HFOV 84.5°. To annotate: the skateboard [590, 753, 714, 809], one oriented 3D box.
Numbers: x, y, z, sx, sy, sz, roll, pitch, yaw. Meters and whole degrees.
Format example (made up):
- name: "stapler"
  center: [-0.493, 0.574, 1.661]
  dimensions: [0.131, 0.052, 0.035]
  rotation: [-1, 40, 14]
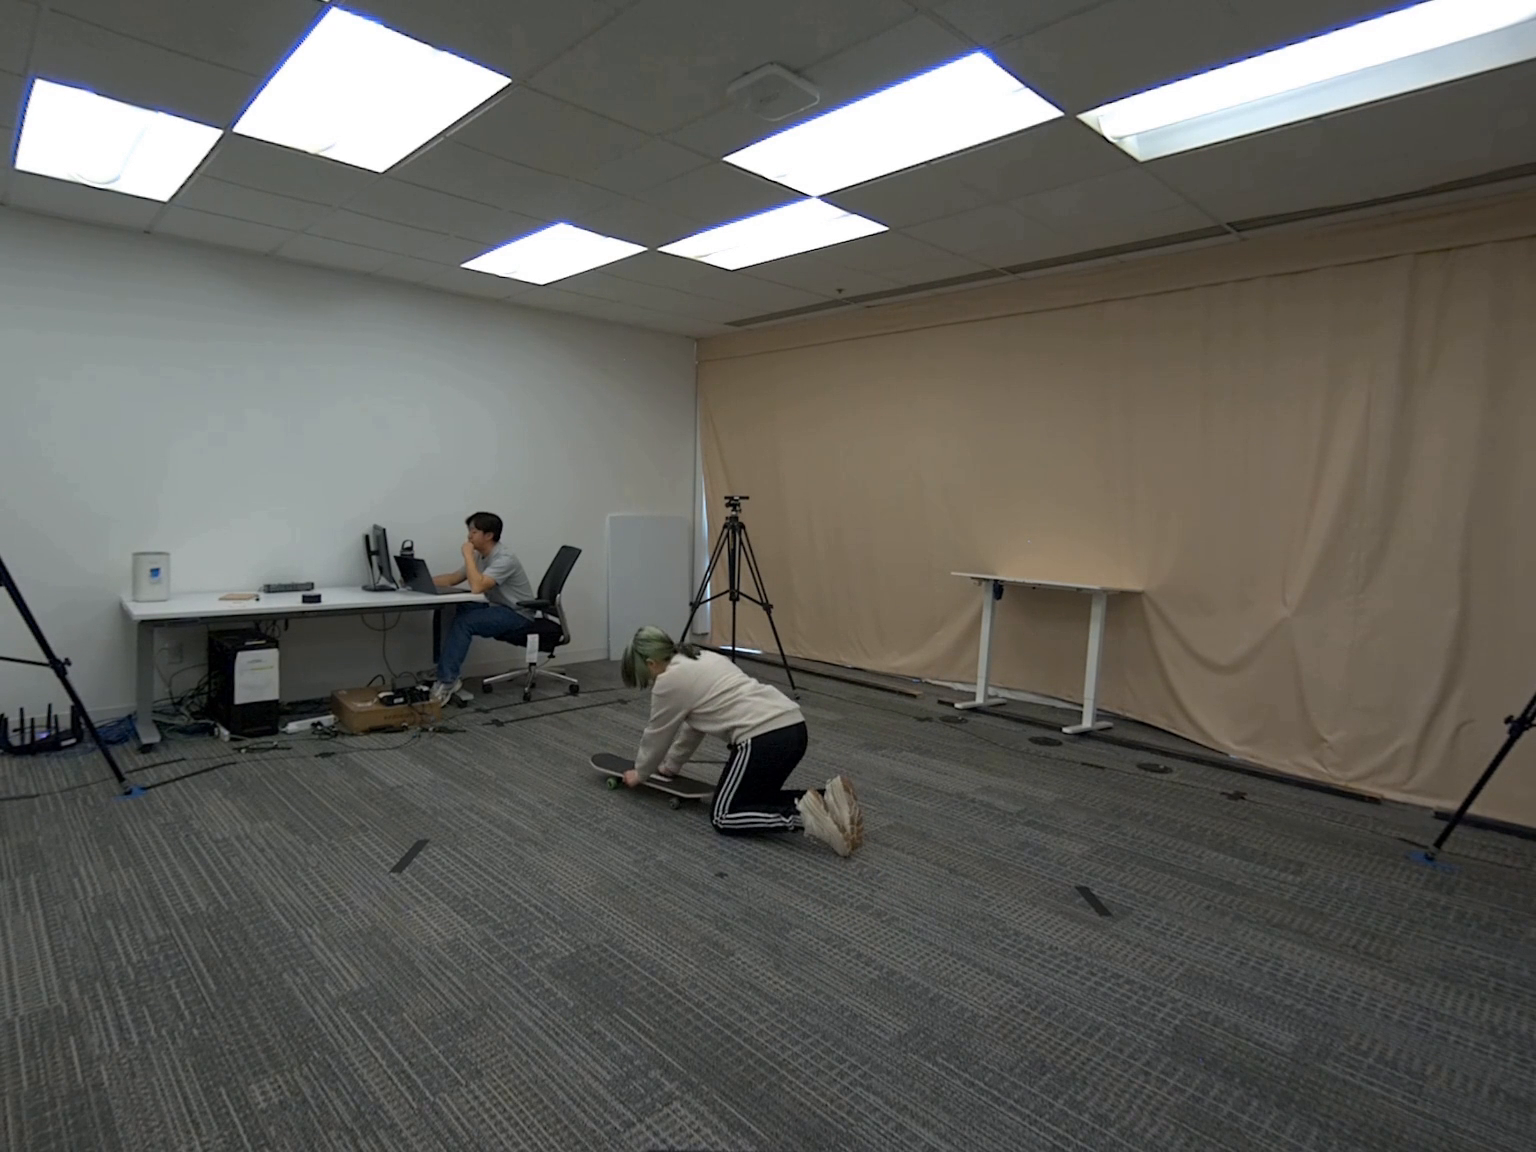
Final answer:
- name: "skateboard"
  center: [-0.534, 0.962, 3.933]
  dimensions: [0.805, 0.110, 0.189]
  rotation: [6, 5, 37]
